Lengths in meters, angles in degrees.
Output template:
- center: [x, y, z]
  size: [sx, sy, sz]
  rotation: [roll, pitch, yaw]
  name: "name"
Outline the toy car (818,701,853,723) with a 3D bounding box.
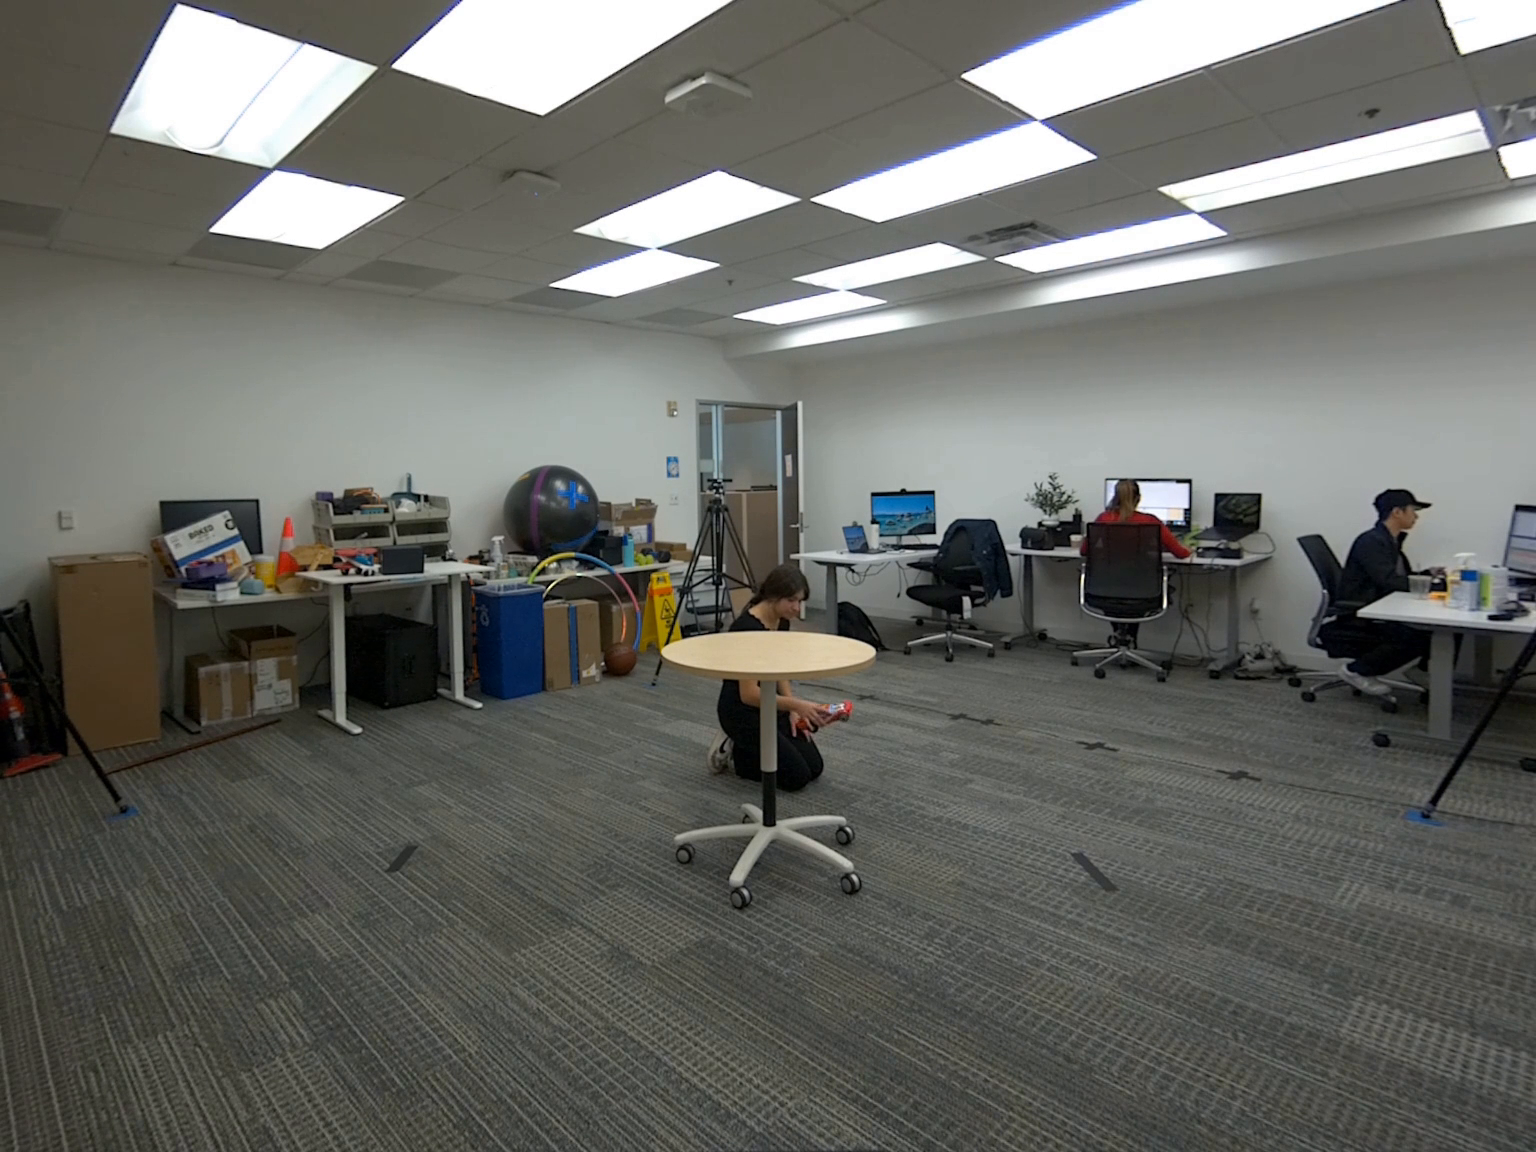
- center: [0.242, 0.611, 3.672]
  size: [0.258, 0.082, 0.130]
  rotation: [-13, 12, 19]
  name: "toy car"
